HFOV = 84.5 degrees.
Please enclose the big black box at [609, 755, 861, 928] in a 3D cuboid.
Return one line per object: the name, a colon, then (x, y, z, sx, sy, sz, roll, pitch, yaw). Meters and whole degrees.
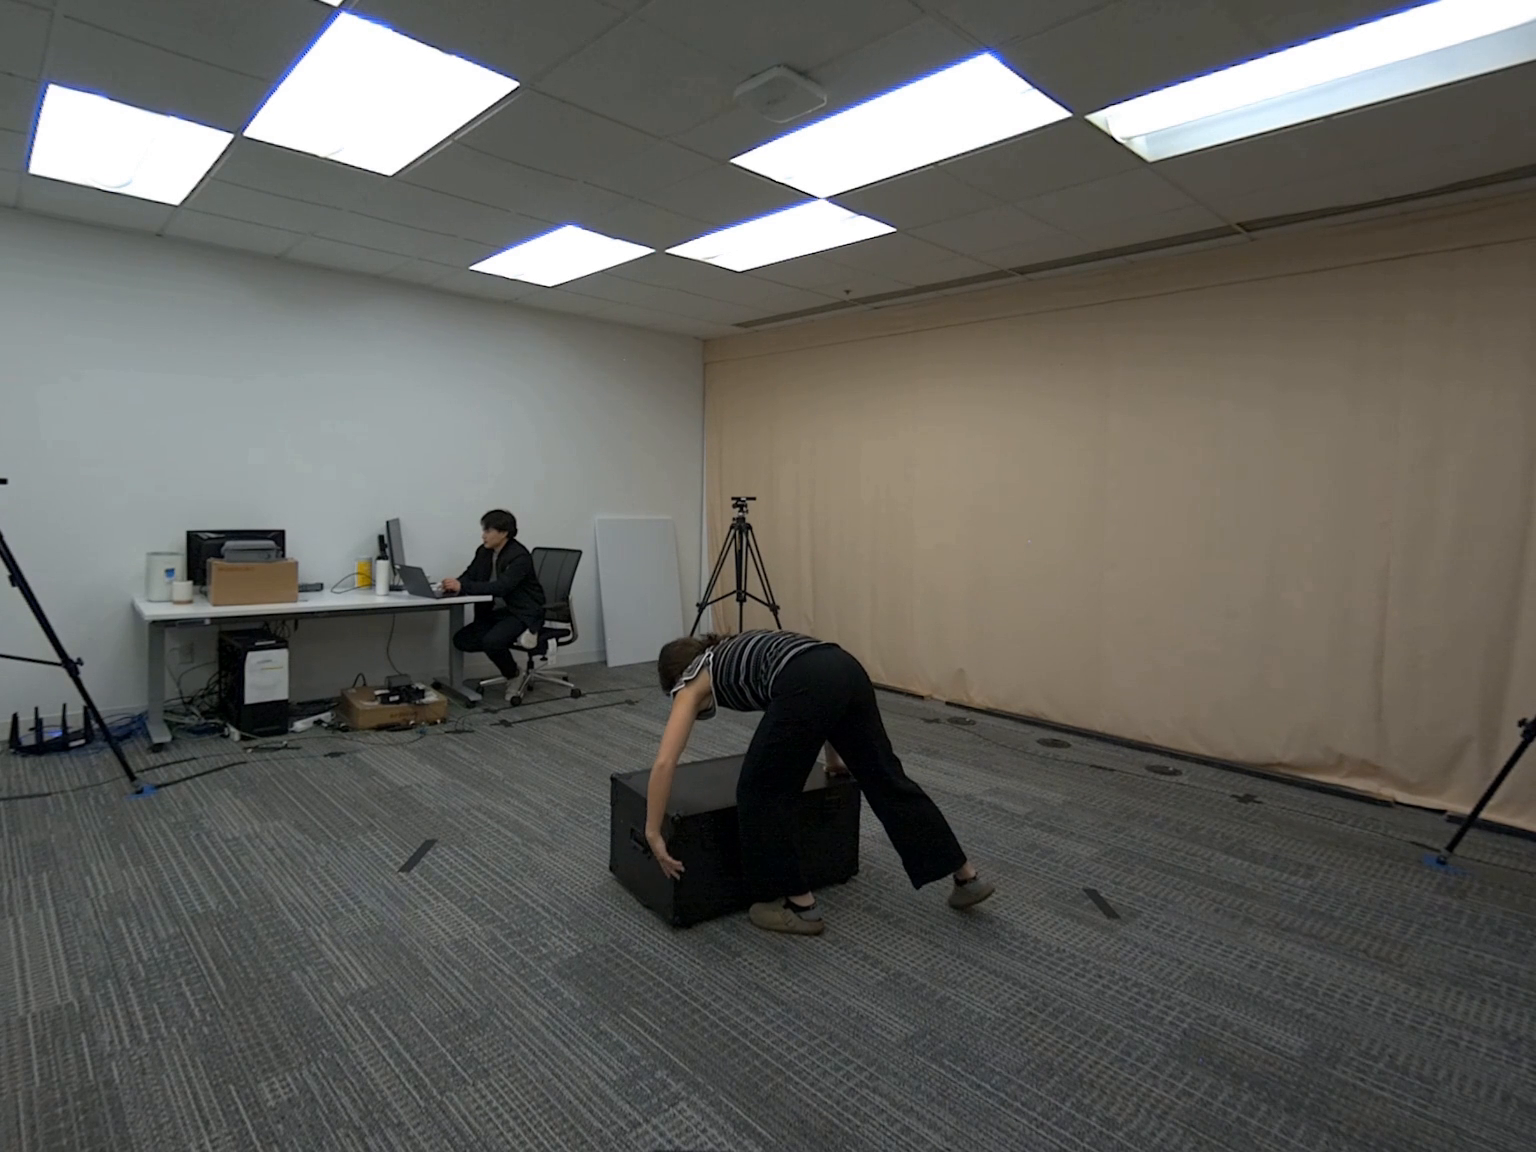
big black box: (-0.098, 0.920, 3.089, 0.843, 0.395, 0.534, -3, 6, -34)
